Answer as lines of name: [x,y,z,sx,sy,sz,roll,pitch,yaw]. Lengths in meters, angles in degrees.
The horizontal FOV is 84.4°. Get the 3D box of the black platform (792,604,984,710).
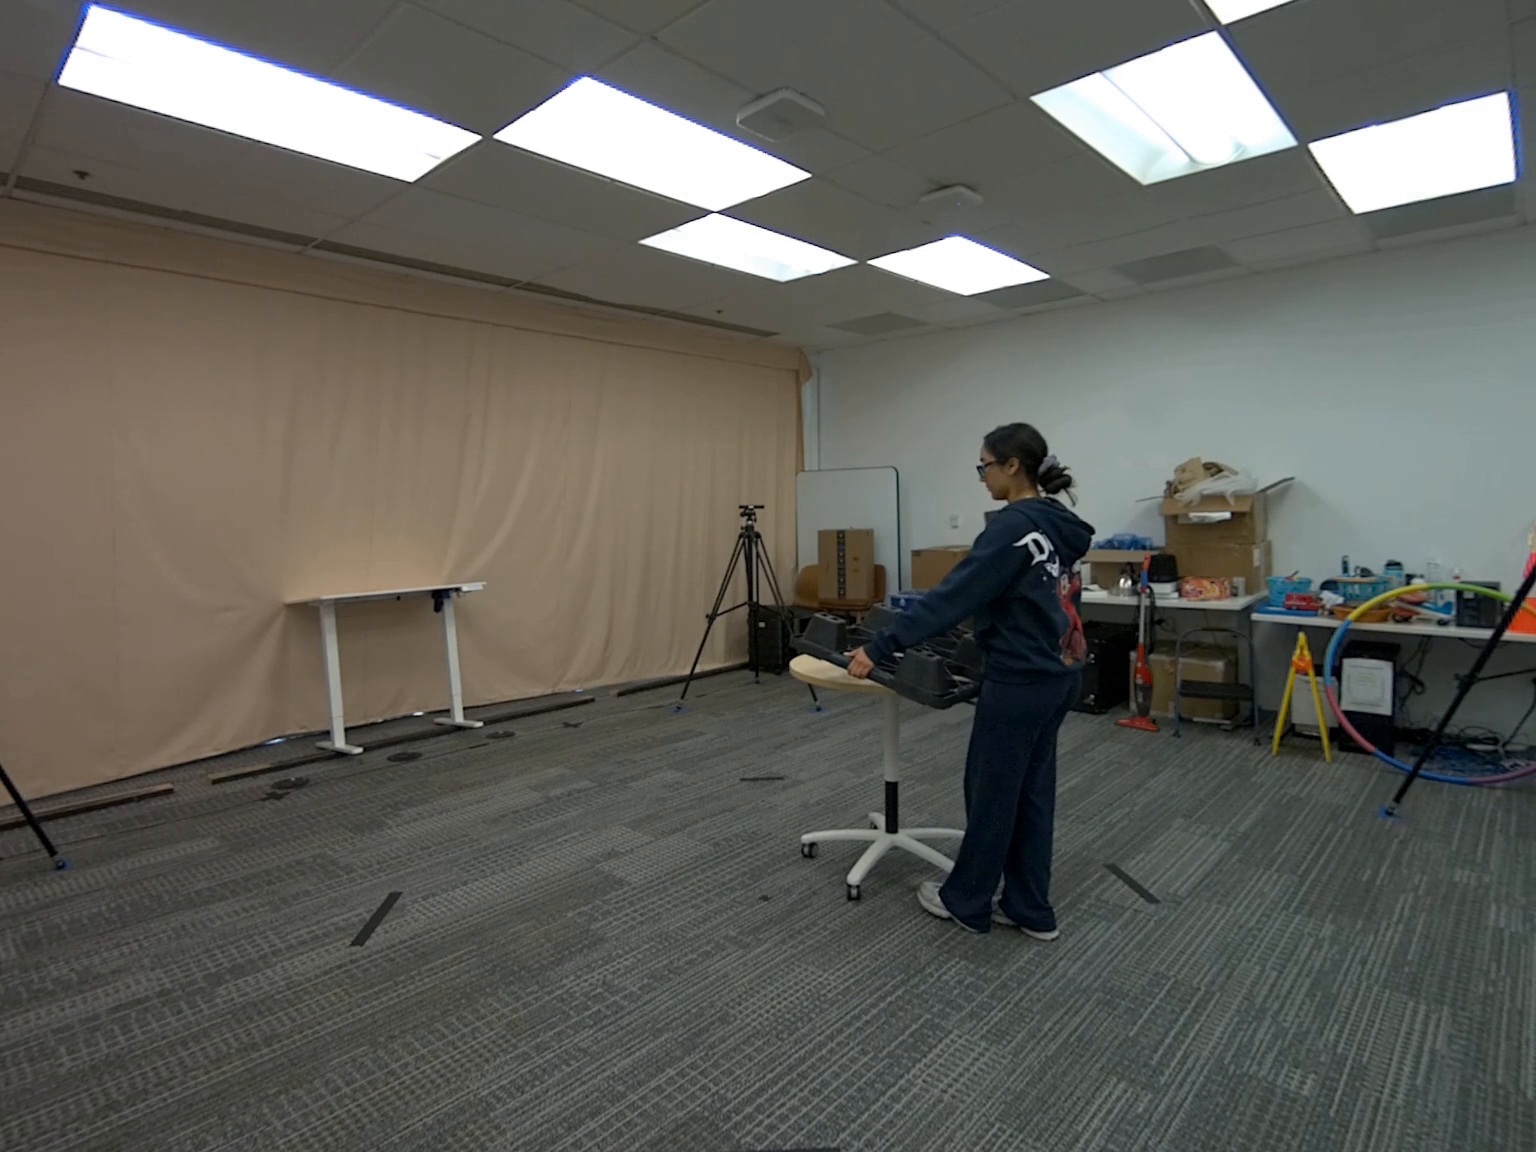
black platform: [0.559,0.227,2.932,0.627,0.142,0.781,21,17,40]
